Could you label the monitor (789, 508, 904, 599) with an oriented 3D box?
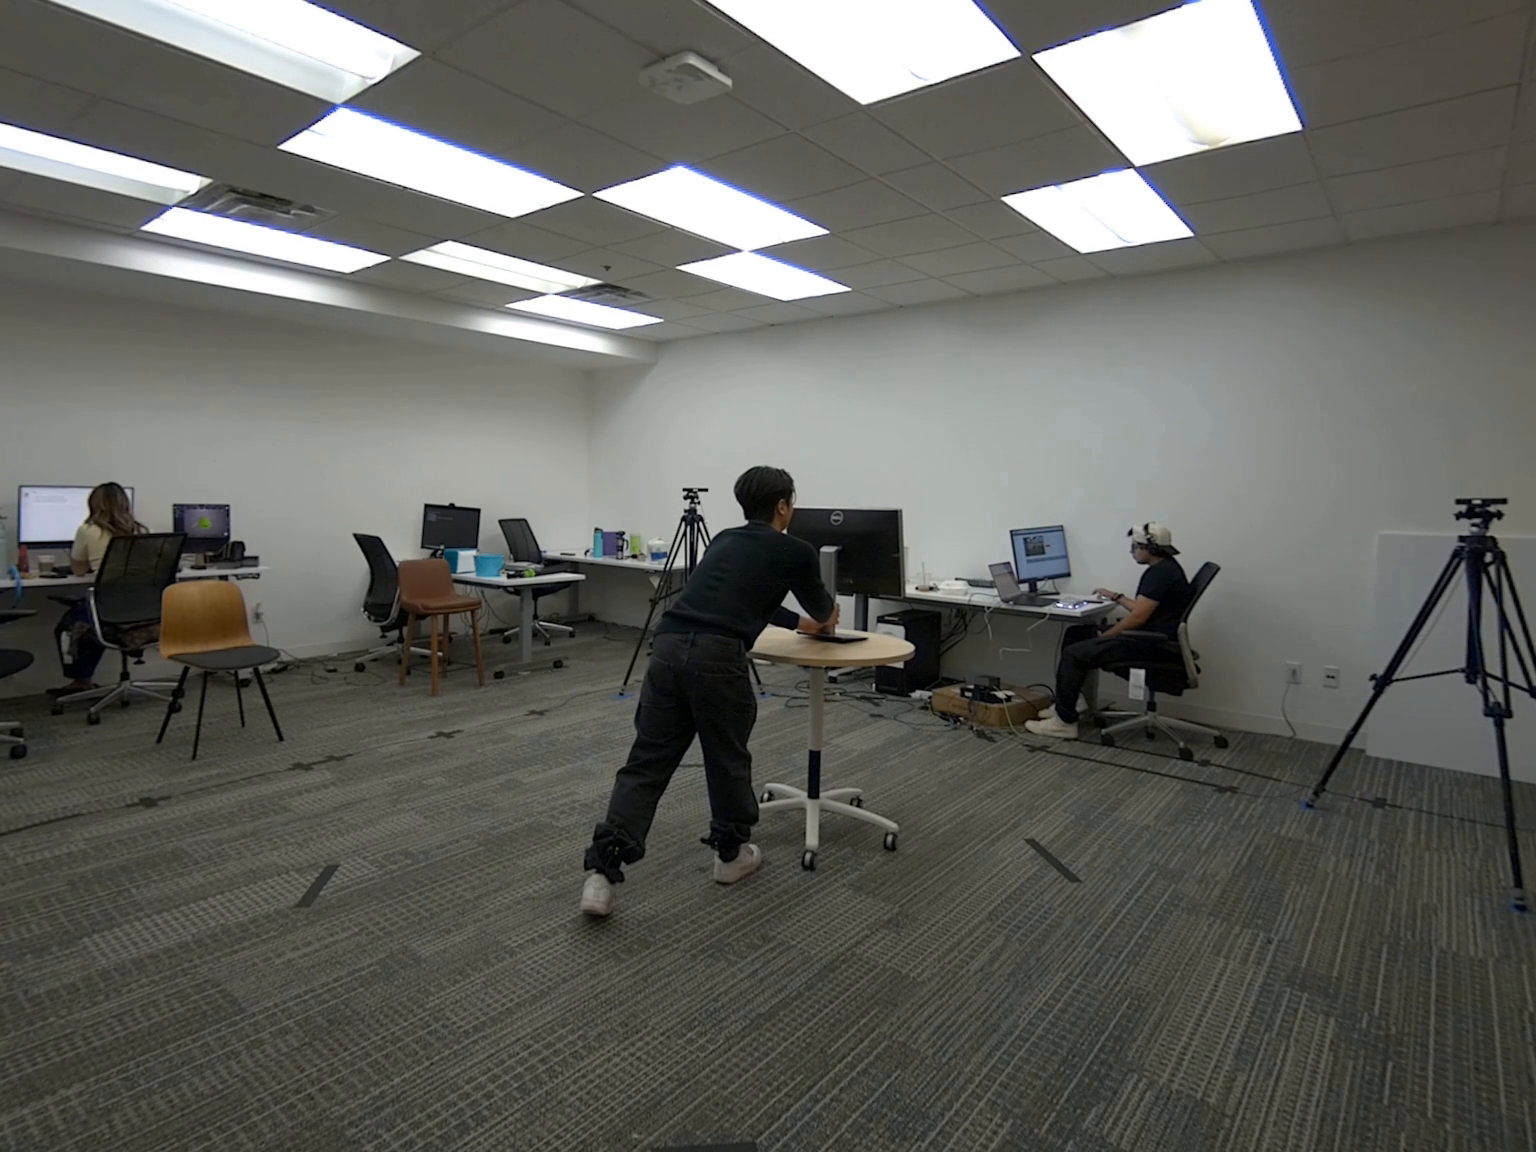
[{"bbox_3d":[0.280,-0.020,3.561,0.557,0.523,0.181,4,0,37],"label":"monitor"}]
